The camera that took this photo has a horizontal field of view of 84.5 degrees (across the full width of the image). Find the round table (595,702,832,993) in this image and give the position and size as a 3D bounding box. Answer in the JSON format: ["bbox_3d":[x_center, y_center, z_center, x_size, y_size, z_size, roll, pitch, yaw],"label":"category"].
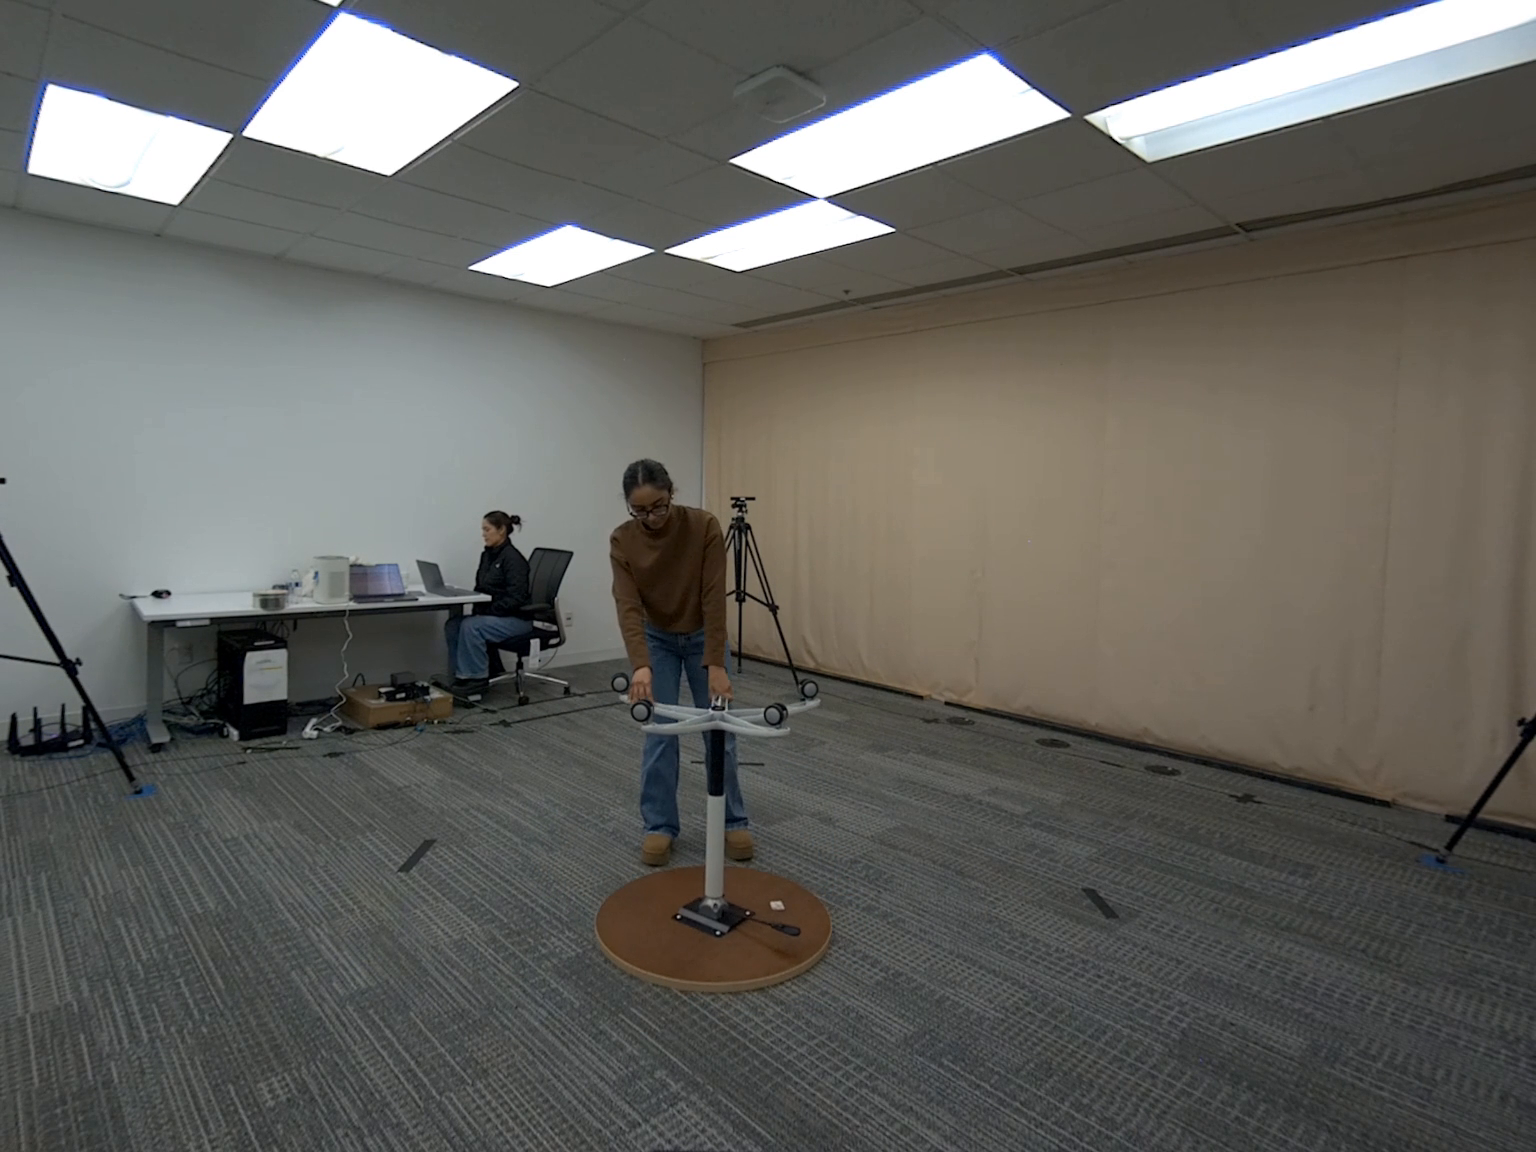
[{"bbox_3d":[-0.167,0.751,2.715,0.763,0.792,0.767,1,4,-1],"label":"round table"}]
